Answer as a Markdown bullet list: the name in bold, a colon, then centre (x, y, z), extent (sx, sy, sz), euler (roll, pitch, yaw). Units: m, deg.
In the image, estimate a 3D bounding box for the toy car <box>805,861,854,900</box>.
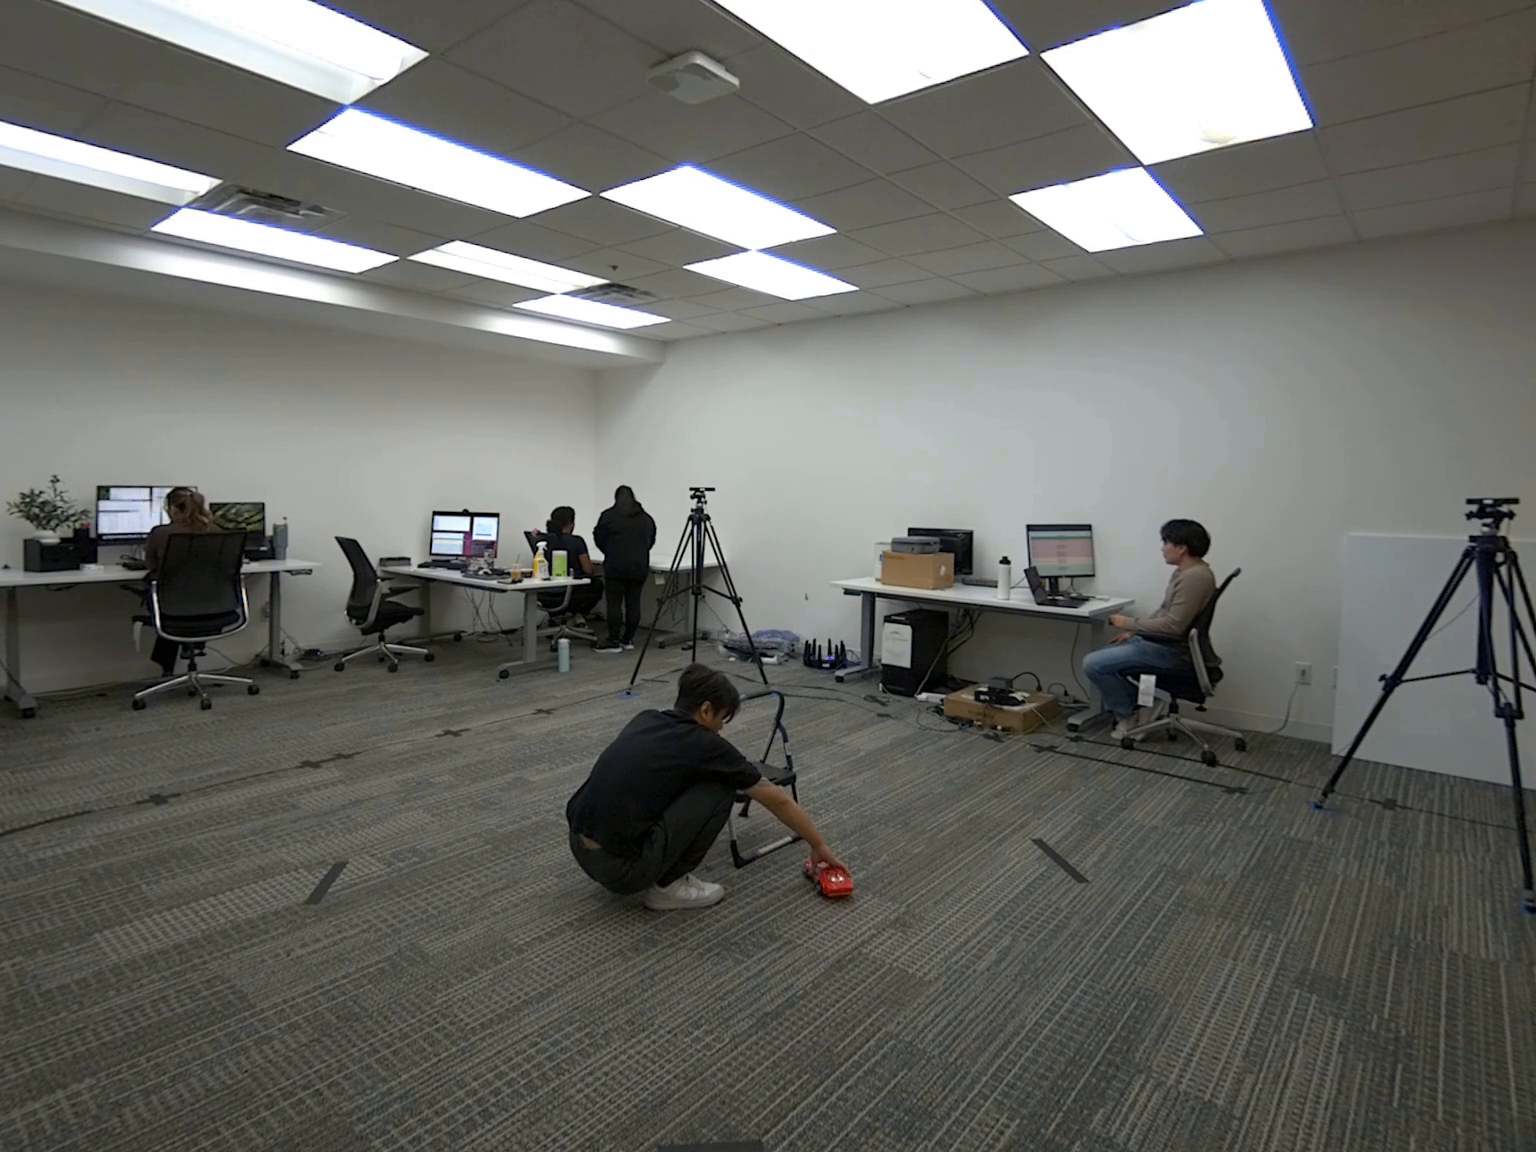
- **toy car**: centre (0.203, 1.062, 2.964), extent (0.128, 0.084, 0.256), euler (0, -8, -17)
